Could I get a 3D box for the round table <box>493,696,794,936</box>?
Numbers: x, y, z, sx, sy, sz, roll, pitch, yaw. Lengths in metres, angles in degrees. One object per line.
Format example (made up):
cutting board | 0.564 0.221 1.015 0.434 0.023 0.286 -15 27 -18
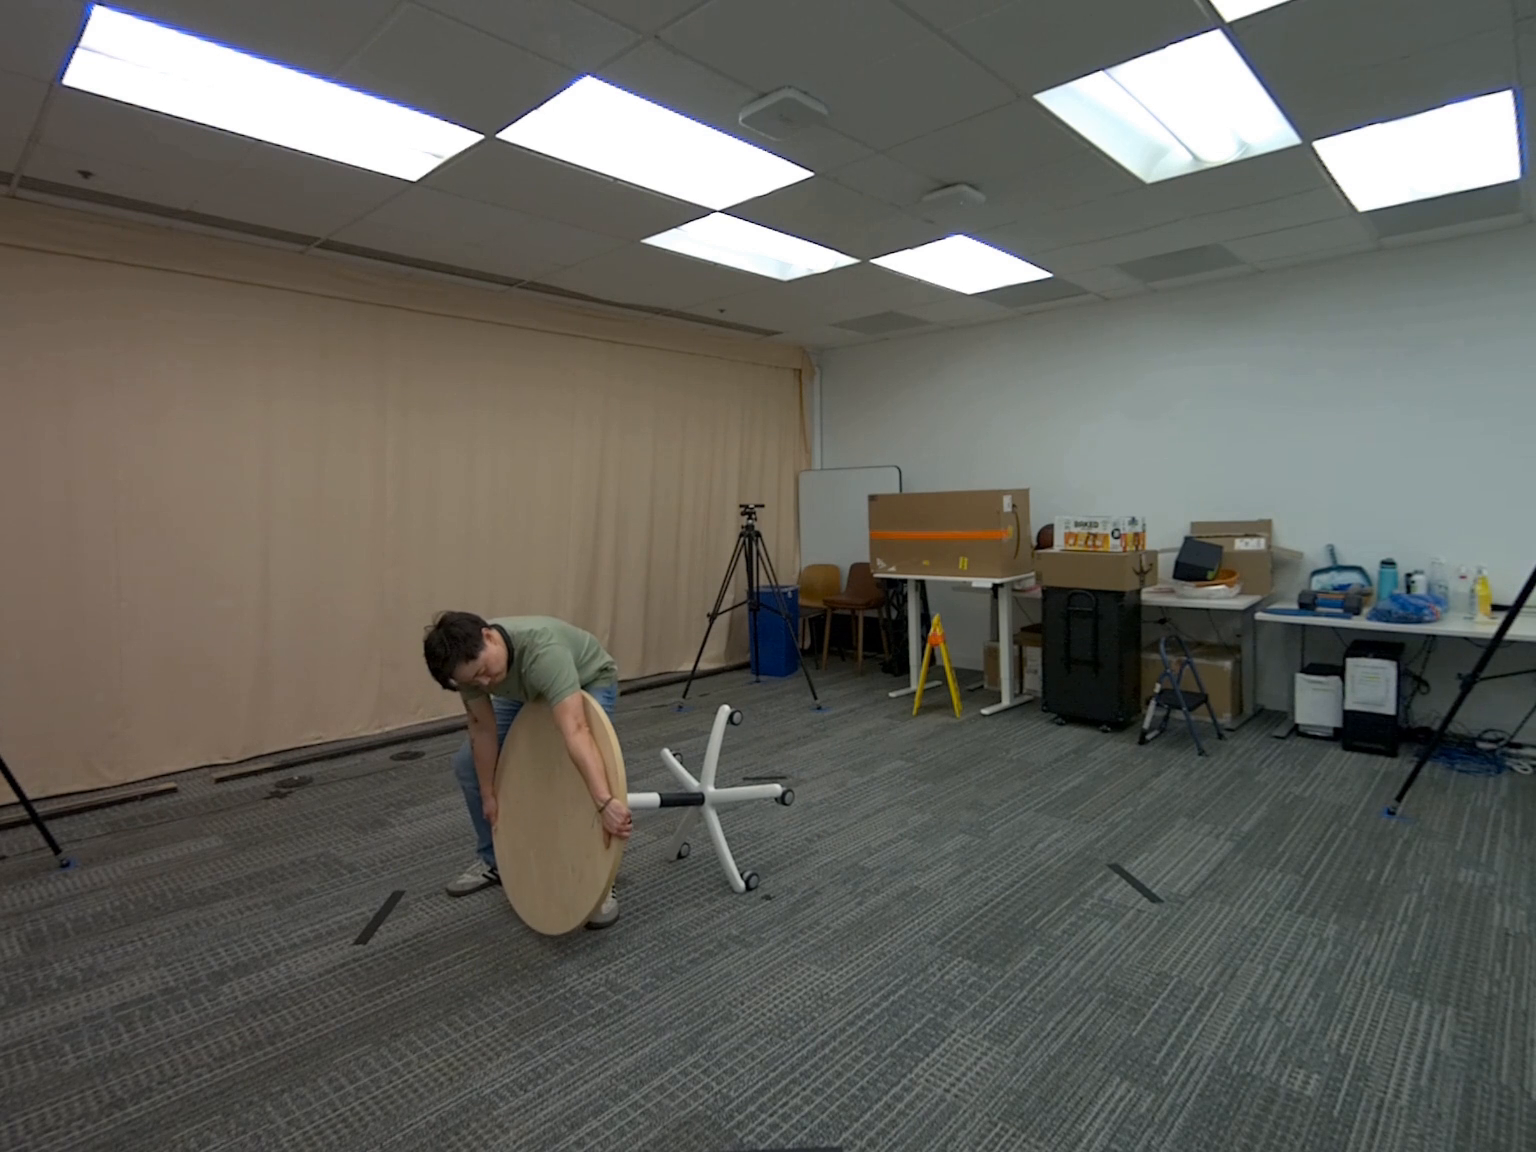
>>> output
round table | -0.420 0.798 2.972 0.766 0.765 0.789 11 -5 -44
